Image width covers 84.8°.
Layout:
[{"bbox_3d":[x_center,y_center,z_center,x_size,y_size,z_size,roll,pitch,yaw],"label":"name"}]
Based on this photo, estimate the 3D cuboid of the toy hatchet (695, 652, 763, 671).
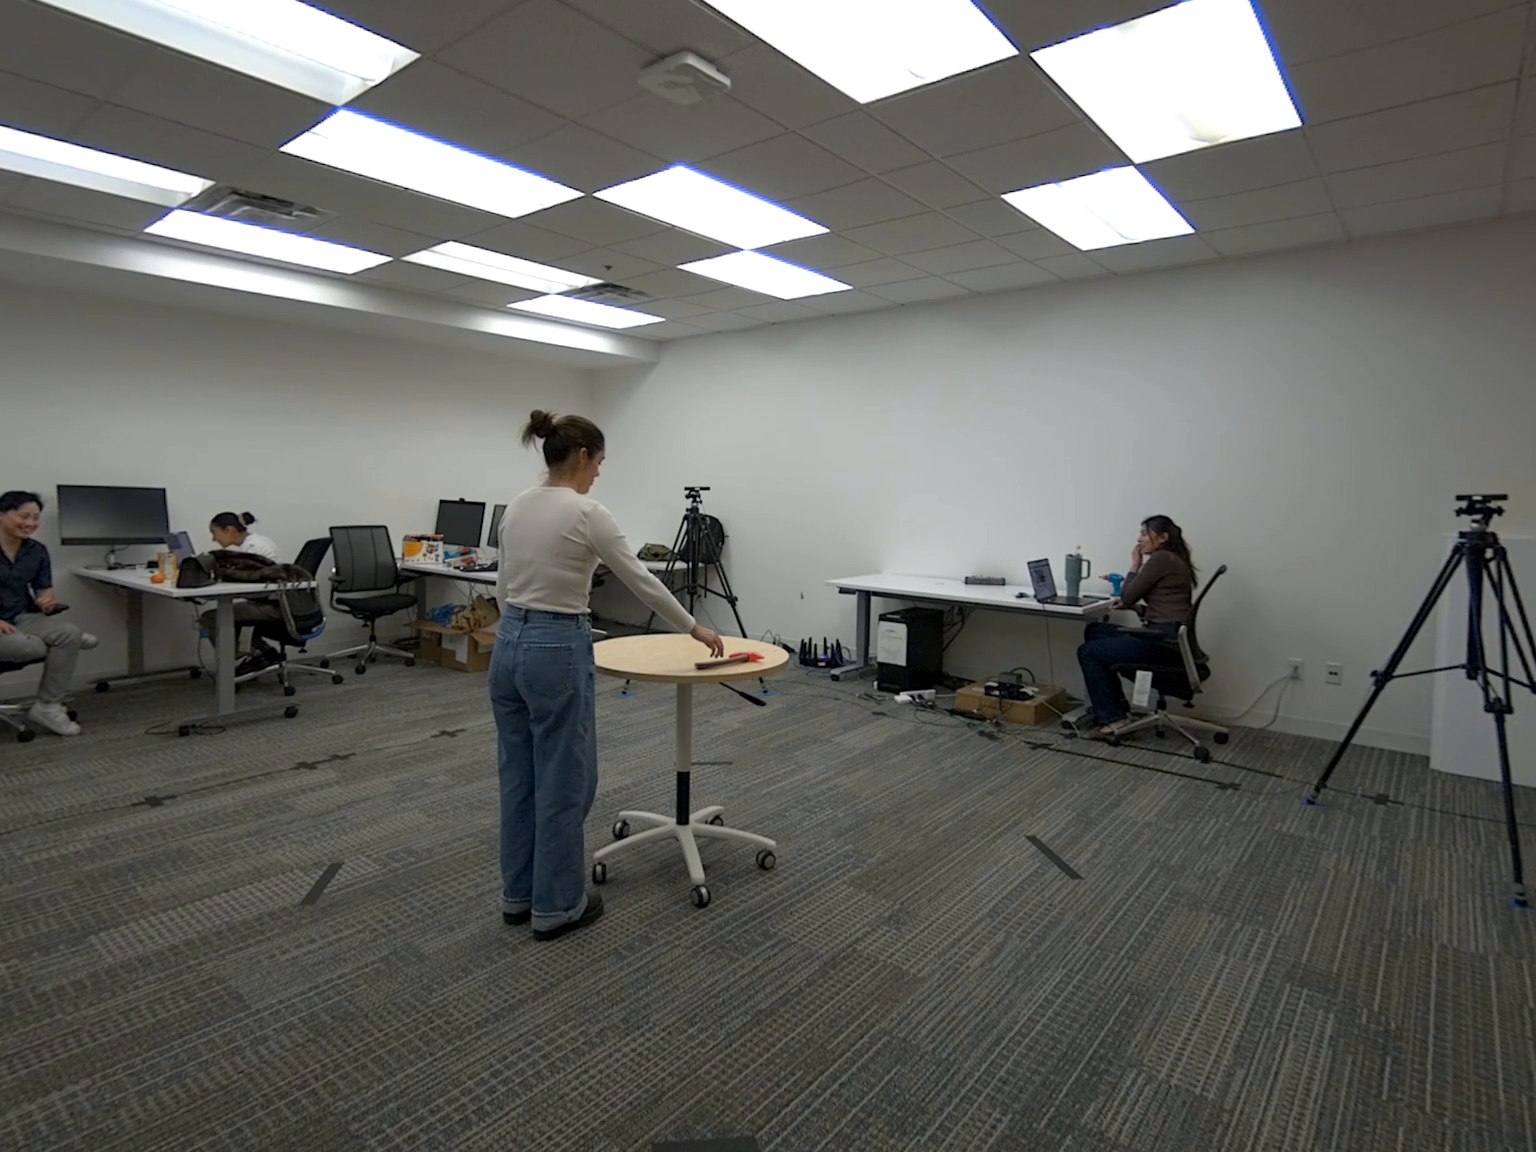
[{"bbox_3d":[-0.160,0.292,2.963,0.263,0.029,0.135,-4,6,-30],"label":"toy hatchet"}]
